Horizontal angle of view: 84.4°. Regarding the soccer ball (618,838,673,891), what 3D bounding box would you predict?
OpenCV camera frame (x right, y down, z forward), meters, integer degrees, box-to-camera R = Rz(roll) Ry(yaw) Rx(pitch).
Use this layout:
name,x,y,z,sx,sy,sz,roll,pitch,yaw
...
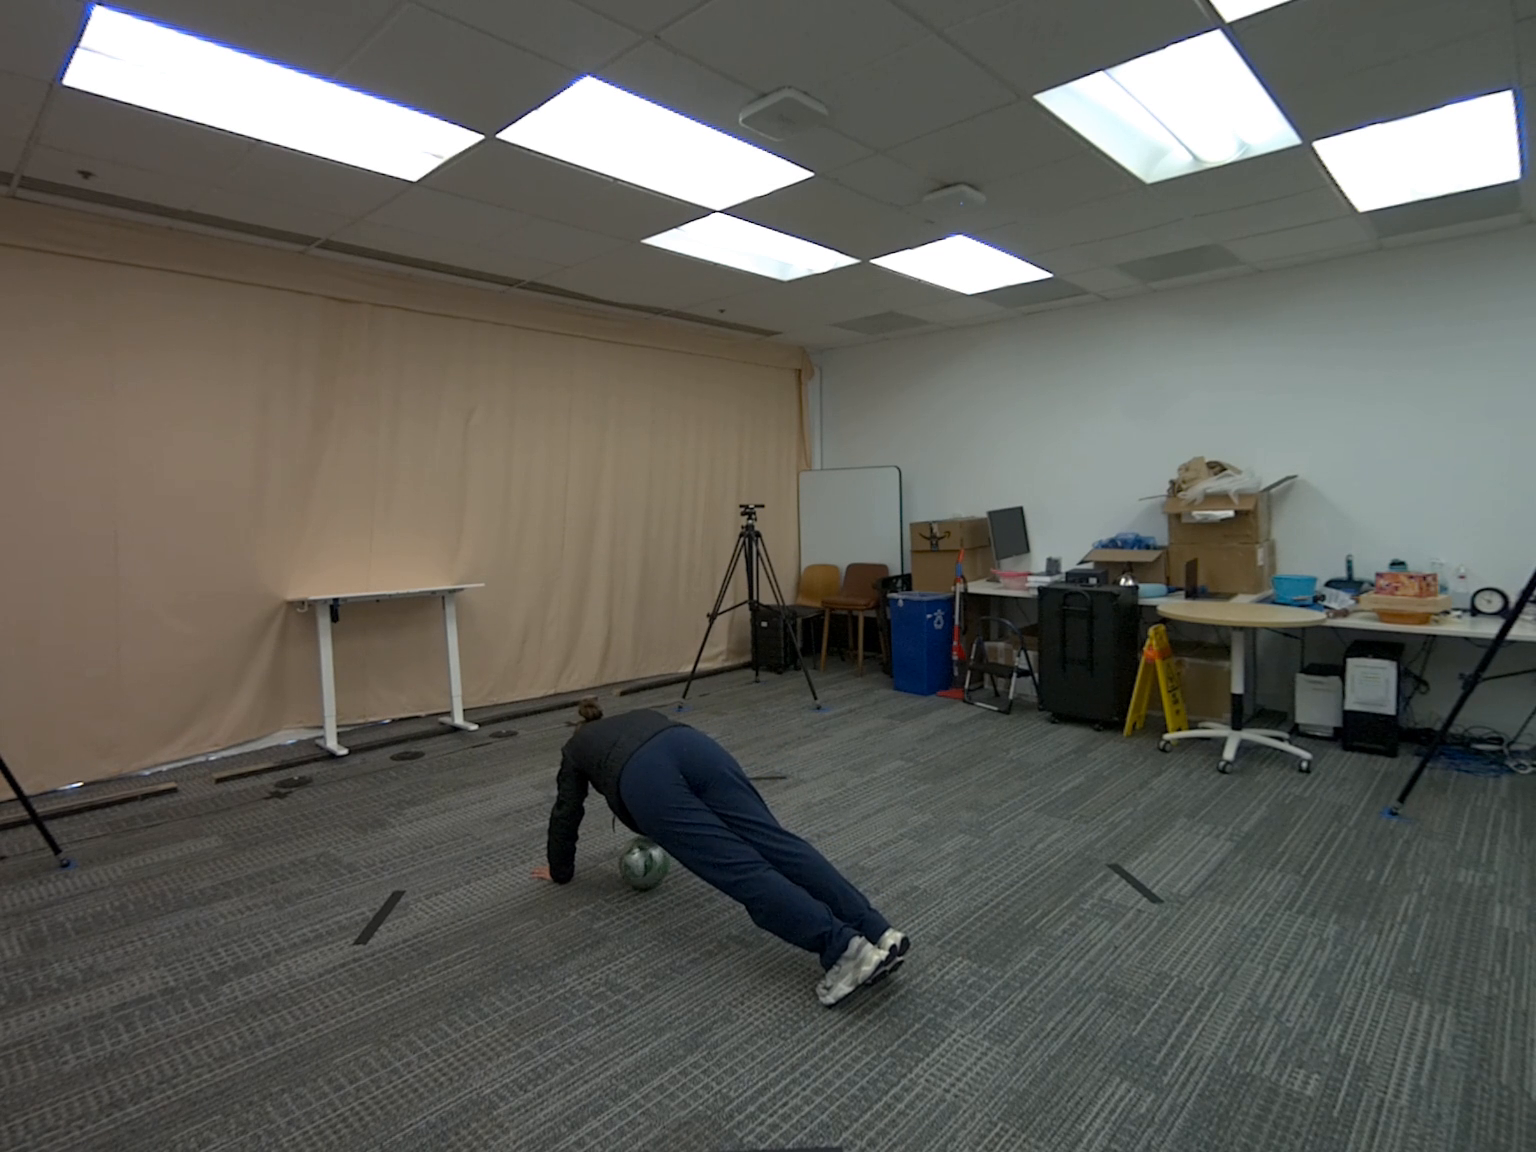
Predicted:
name,x,y,z,sx,sy,sz,roll,pitch,yaw
soccer ball,-0.451,1.048,3.078,0.187,0.187,0.188,-1,4,-2
